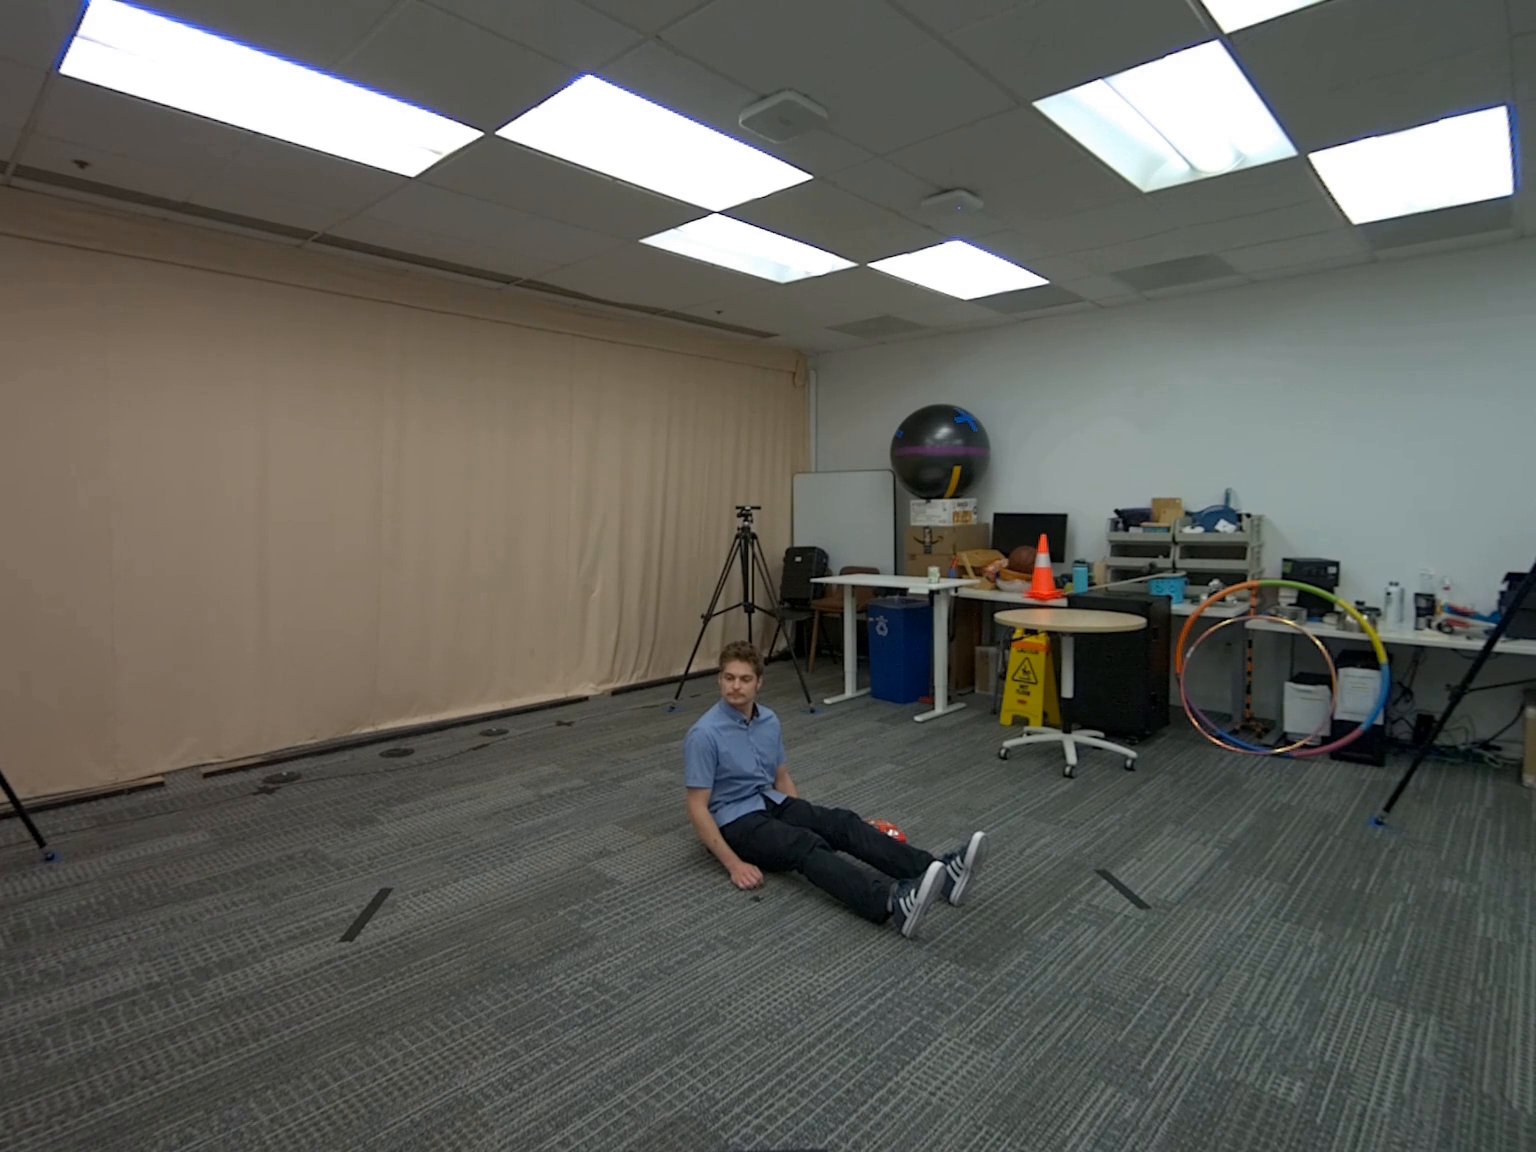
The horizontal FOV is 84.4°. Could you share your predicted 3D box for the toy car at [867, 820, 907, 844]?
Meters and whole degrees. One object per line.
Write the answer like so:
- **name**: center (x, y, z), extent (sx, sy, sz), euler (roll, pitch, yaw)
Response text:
- **toy car**: center (0.495, 1.074, 3.502), extent (0.128, 0.083, 0.258), euler (2, -6, -17)
